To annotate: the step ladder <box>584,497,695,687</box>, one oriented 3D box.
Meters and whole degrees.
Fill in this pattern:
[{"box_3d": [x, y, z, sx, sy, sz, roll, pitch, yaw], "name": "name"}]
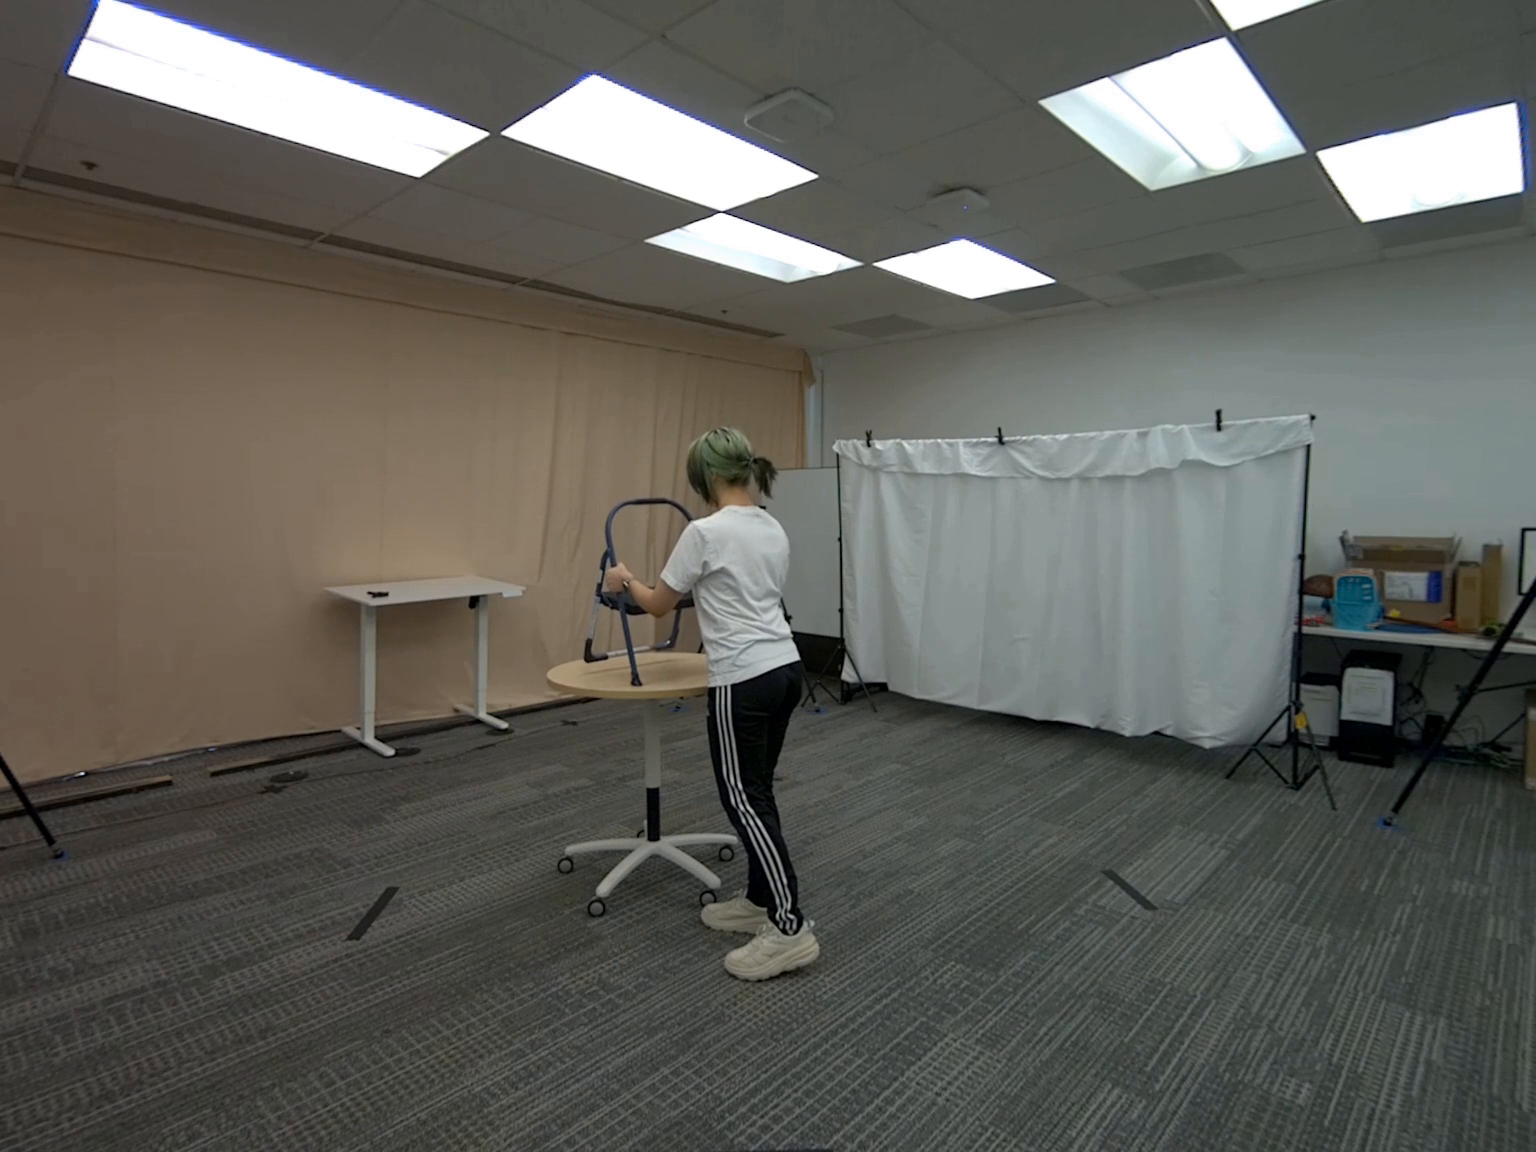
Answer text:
[{"box_3d": [-0.400, 0.030, 3.062, 0.418, 0.603, 0.361, -5, 11, -43], "name": "step ladder"}]
